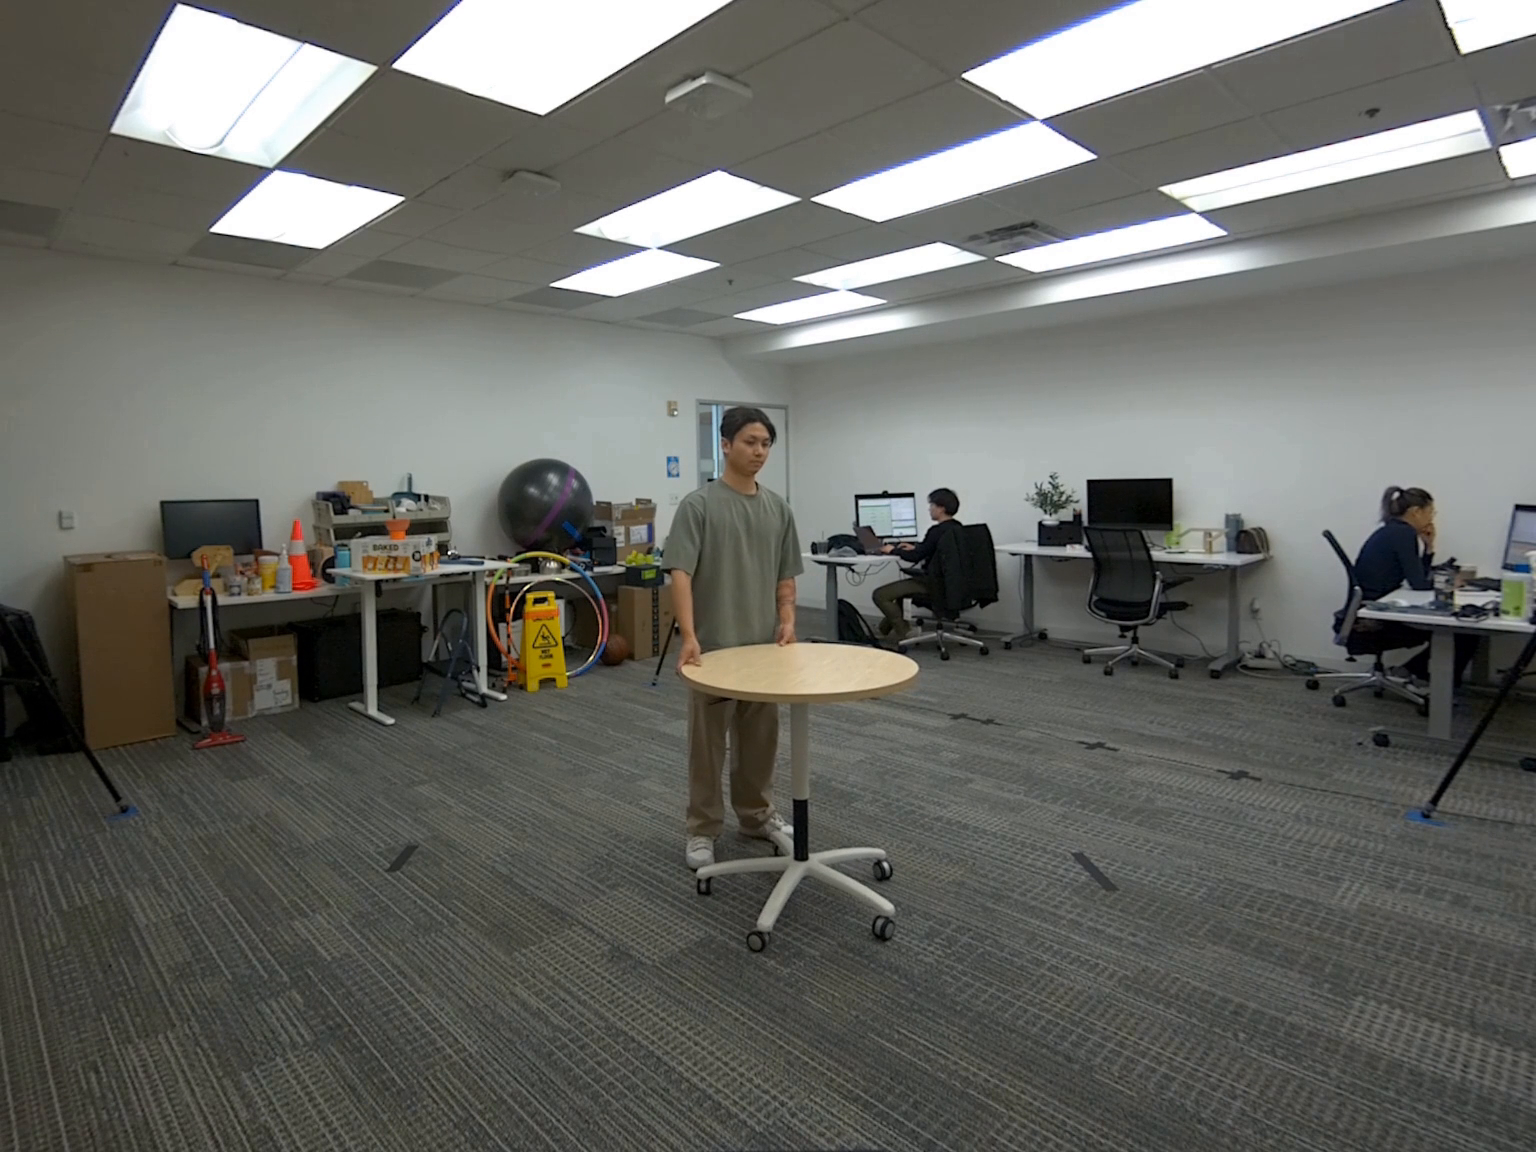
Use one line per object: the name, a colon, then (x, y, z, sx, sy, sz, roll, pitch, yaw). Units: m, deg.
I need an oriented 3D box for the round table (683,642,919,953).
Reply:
round table: (0.118, 0.685, 2.791, 0.784, 0.784, 0.789, -1, 5, -2)
